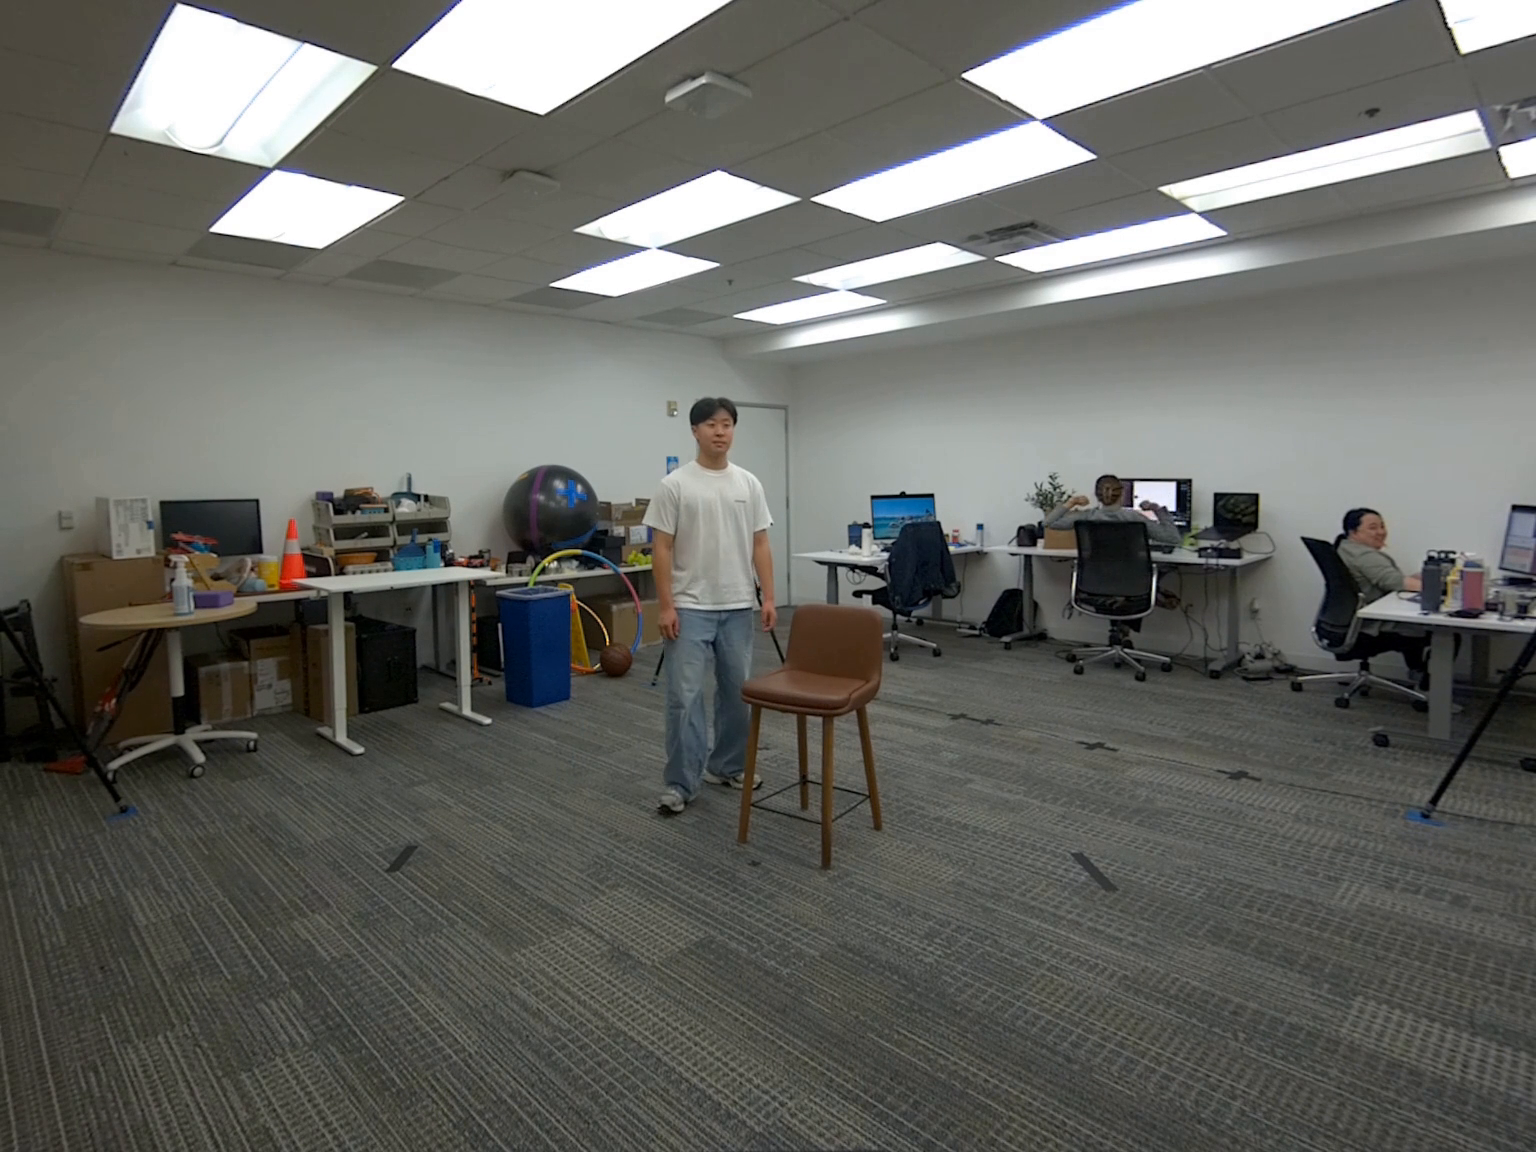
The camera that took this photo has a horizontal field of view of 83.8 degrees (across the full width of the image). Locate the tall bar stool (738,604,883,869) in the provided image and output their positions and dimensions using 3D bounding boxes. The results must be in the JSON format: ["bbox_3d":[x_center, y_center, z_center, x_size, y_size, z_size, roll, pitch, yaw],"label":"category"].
[{"bbox_3d":[0.180,0.583,3.315,0.470,0.888,0.455,2,3,37],"label":"tall bar stool"}]
